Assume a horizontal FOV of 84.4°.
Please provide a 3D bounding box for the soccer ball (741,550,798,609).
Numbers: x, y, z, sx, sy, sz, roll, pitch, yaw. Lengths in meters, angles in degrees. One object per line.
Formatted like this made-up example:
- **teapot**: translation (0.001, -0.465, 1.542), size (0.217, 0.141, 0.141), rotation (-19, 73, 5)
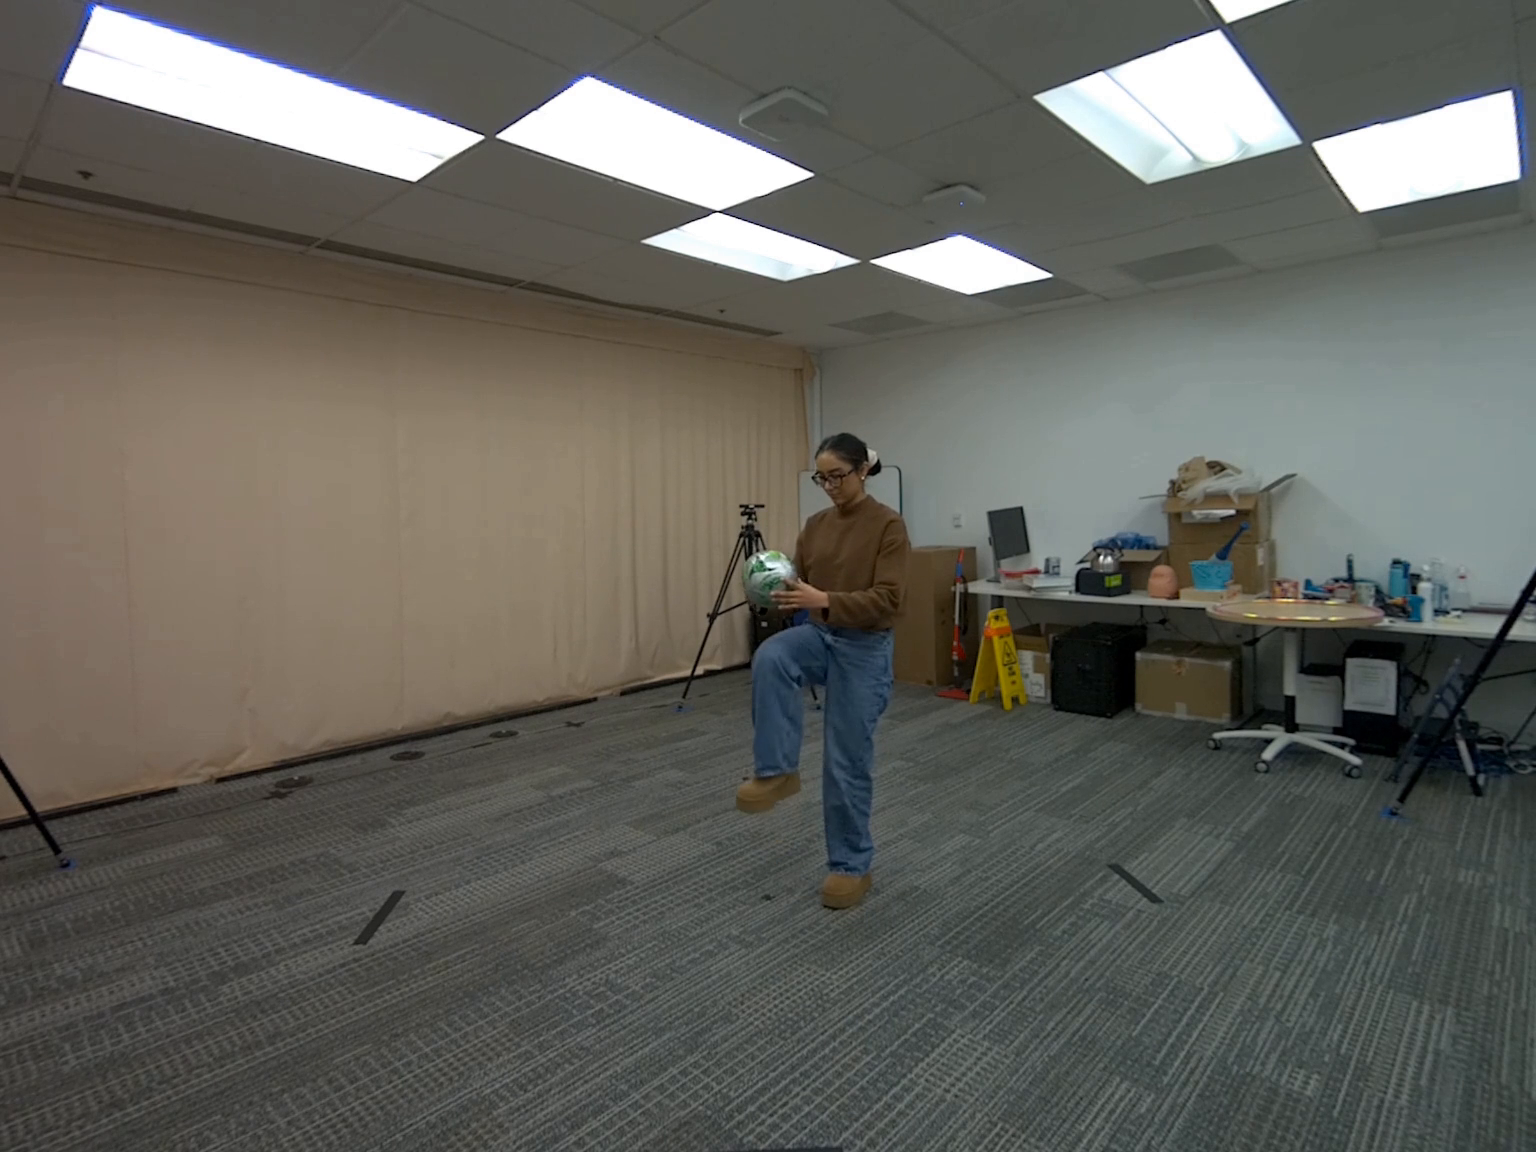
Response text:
- **soccer ball**: translation (0.015, 0.005, 2.736), size (0.187, 0.187, 0.188), rotation (-1, 4, -2)
